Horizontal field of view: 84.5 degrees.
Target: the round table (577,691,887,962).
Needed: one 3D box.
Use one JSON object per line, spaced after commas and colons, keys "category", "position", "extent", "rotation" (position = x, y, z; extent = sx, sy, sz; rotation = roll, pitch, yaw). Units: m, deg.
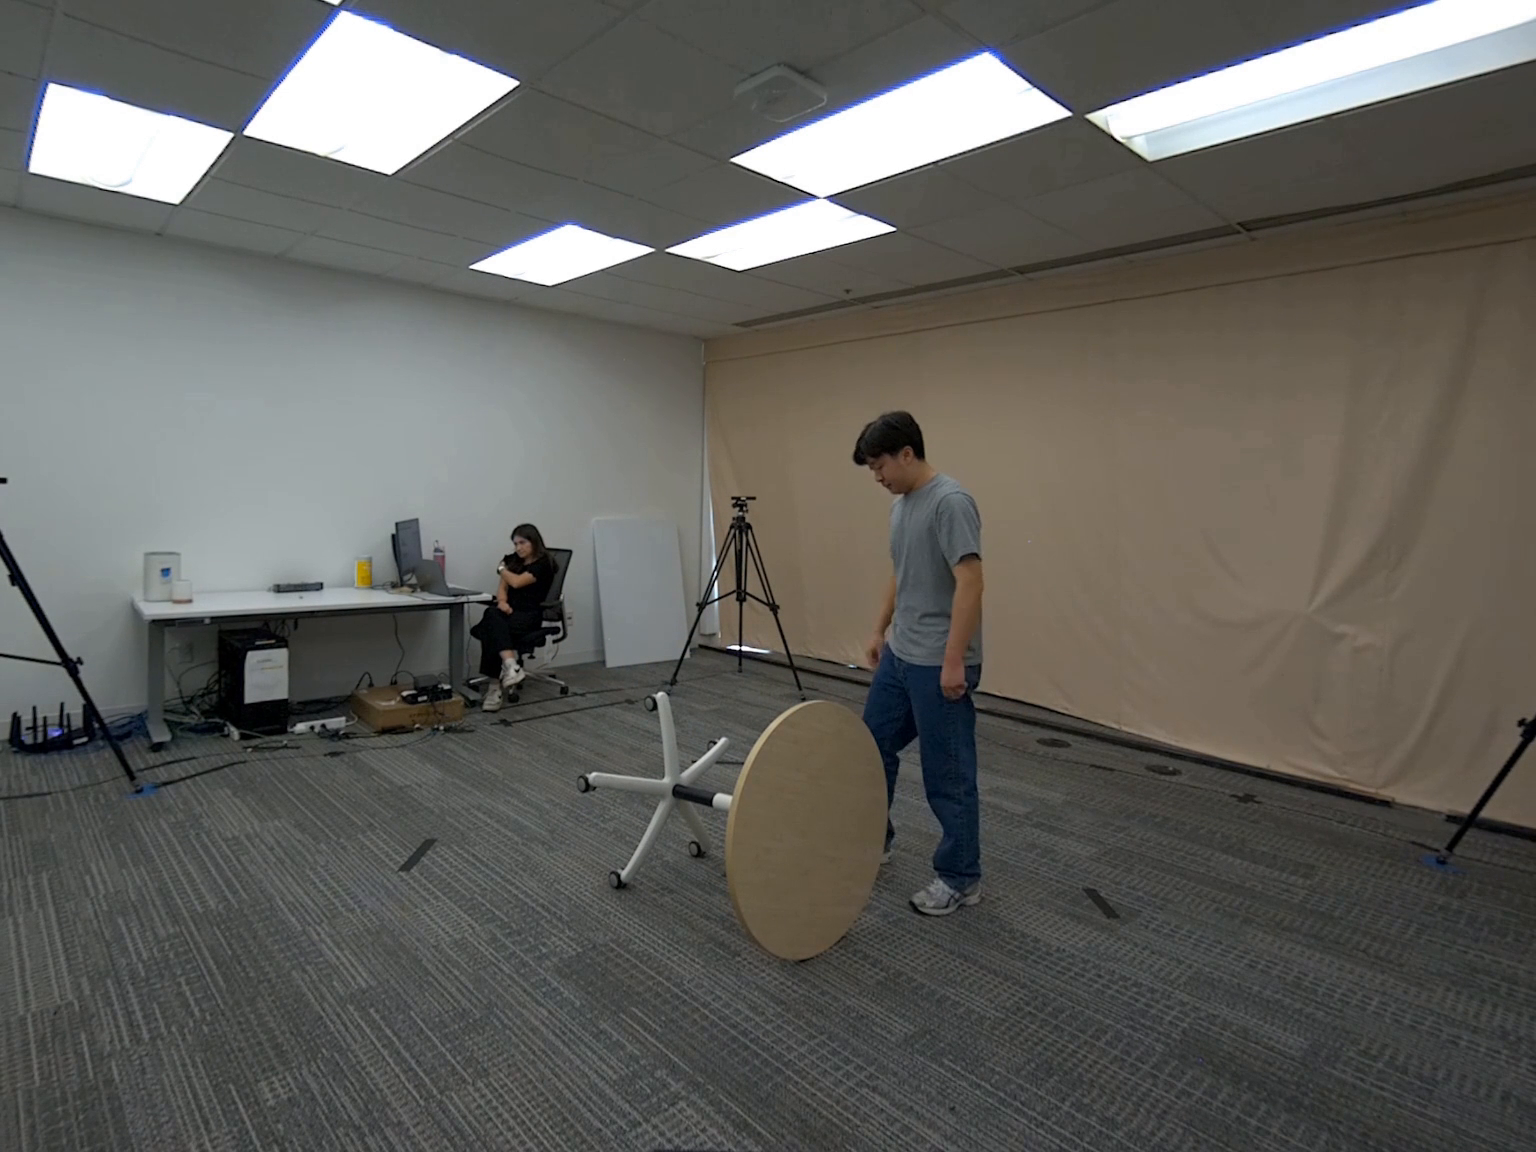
{"category": "round table", "position": [-0.147, 0.785, 2.870], "extent": [0.812, 0.764, 0.747], "rotation": [-3, 0, 43]}
